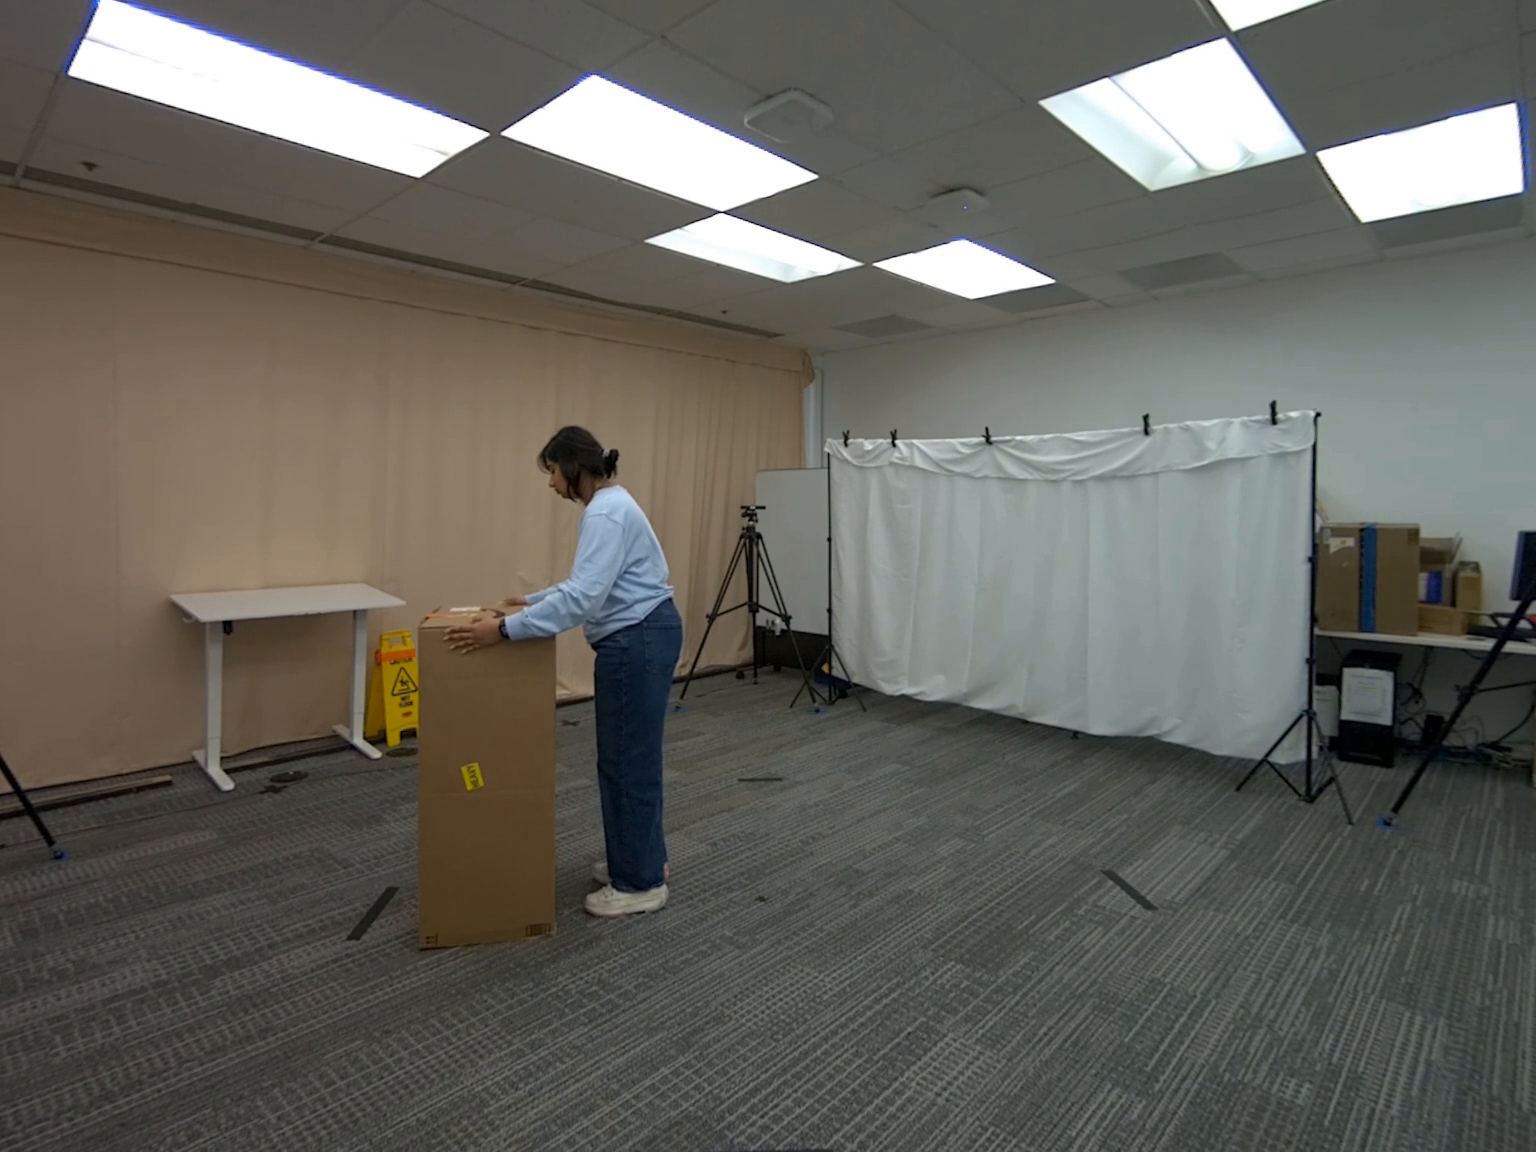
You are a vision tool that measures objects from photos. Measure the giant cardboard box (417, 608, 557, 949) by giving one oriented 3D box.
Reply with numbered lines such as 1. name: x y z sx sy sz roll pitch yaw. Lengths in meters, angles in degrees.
1. giant cardboard box: -0.968 0.647 2.946 0.420 1.024 0.587 1 3 -14
